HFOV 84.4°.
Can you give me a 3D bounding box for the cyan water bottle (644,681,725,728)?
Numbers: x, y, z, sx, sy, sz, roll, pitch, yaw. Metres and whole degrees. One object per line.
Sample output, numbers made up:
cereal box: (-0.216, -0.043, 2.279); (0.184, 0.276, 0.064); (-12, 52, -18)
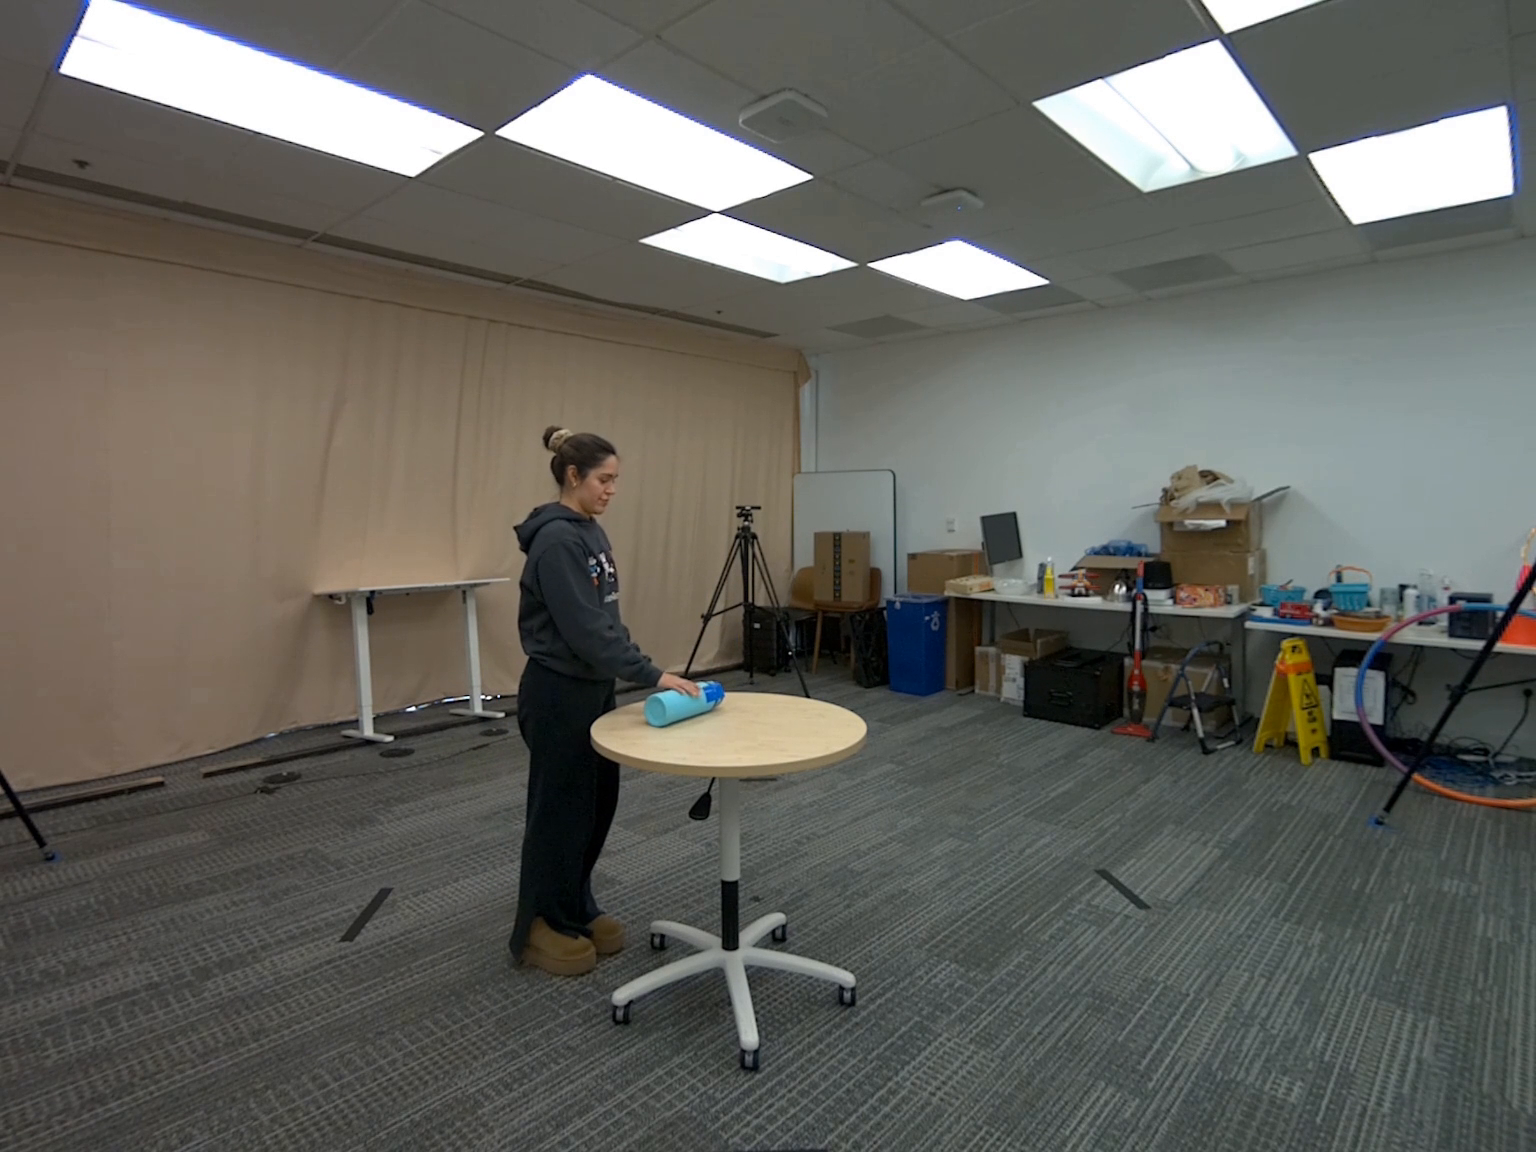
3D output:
cyan water bottle: (-0.221, 0.368, 2.432); (0.095, 0.092, 0.275); (3, 6, 36)
